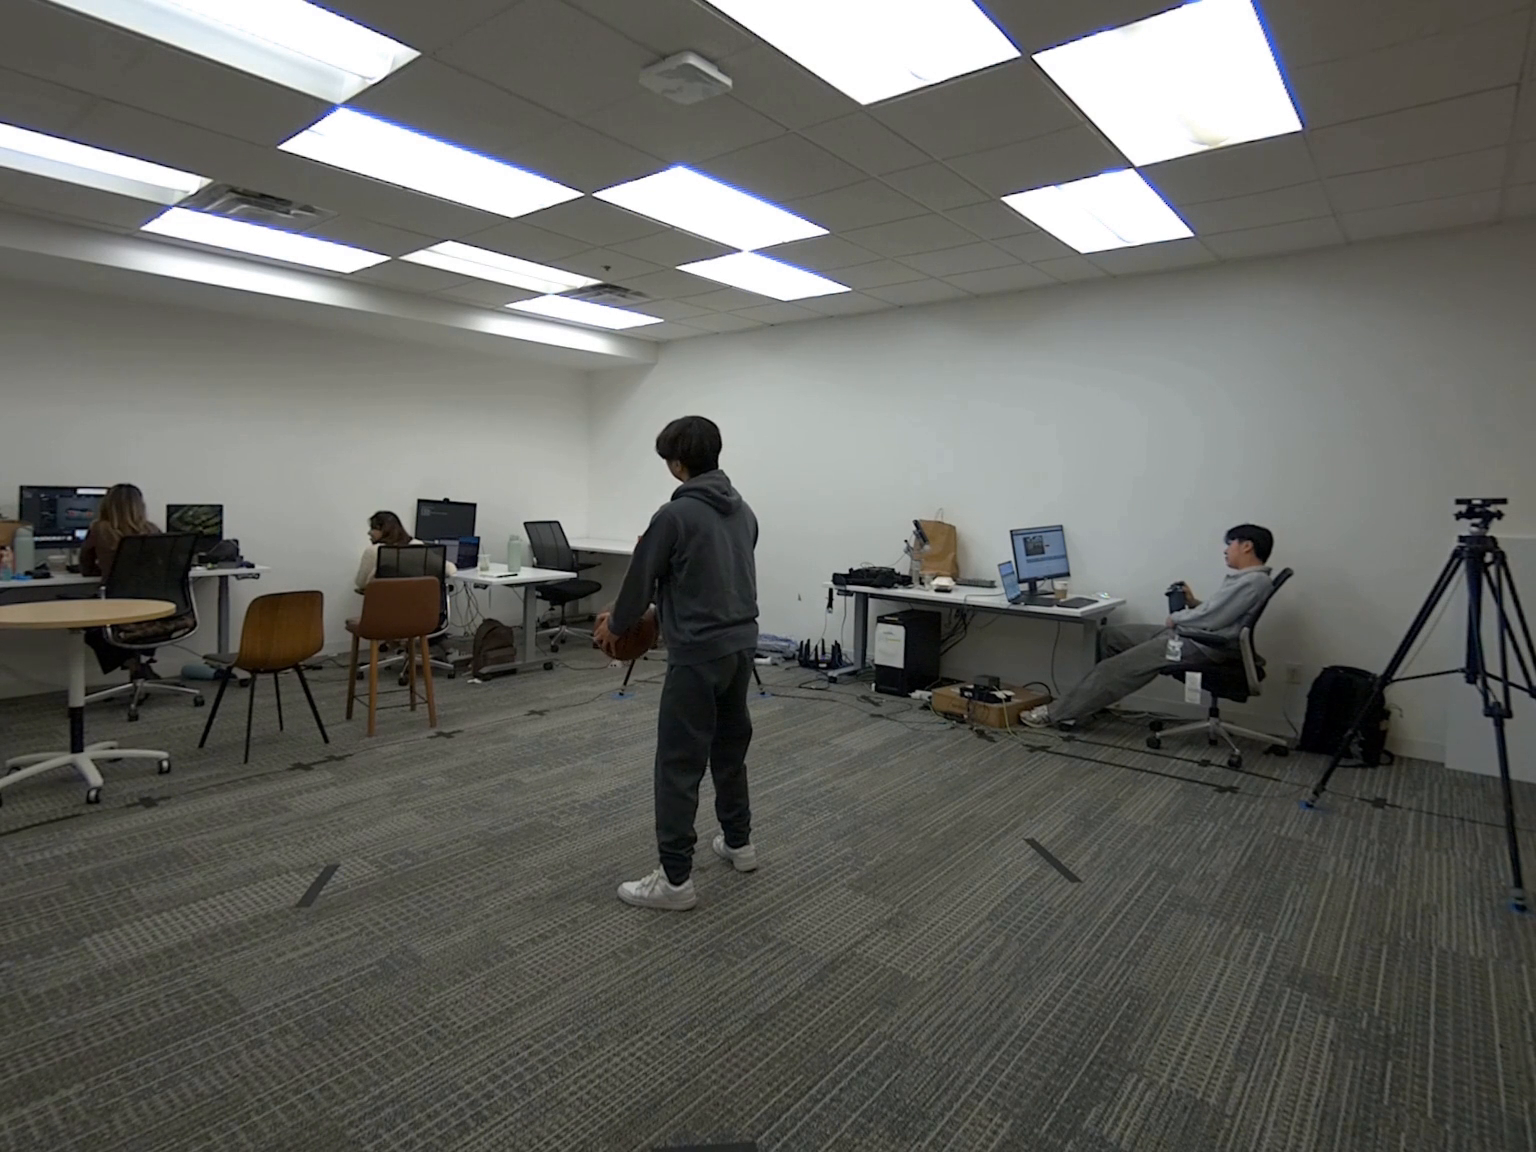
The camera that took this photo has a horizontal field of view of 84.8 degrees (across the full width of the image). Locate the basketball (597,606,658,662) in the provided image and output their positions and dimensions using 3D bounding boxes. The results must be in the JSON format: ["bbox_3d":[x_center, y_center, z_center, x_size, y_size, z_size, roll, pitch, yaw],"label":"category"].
[{"bbox_3d":[-0.560,0.202,3.277,0.235,0.235,0.237,1,4,-2],"label":"basketball"}]
